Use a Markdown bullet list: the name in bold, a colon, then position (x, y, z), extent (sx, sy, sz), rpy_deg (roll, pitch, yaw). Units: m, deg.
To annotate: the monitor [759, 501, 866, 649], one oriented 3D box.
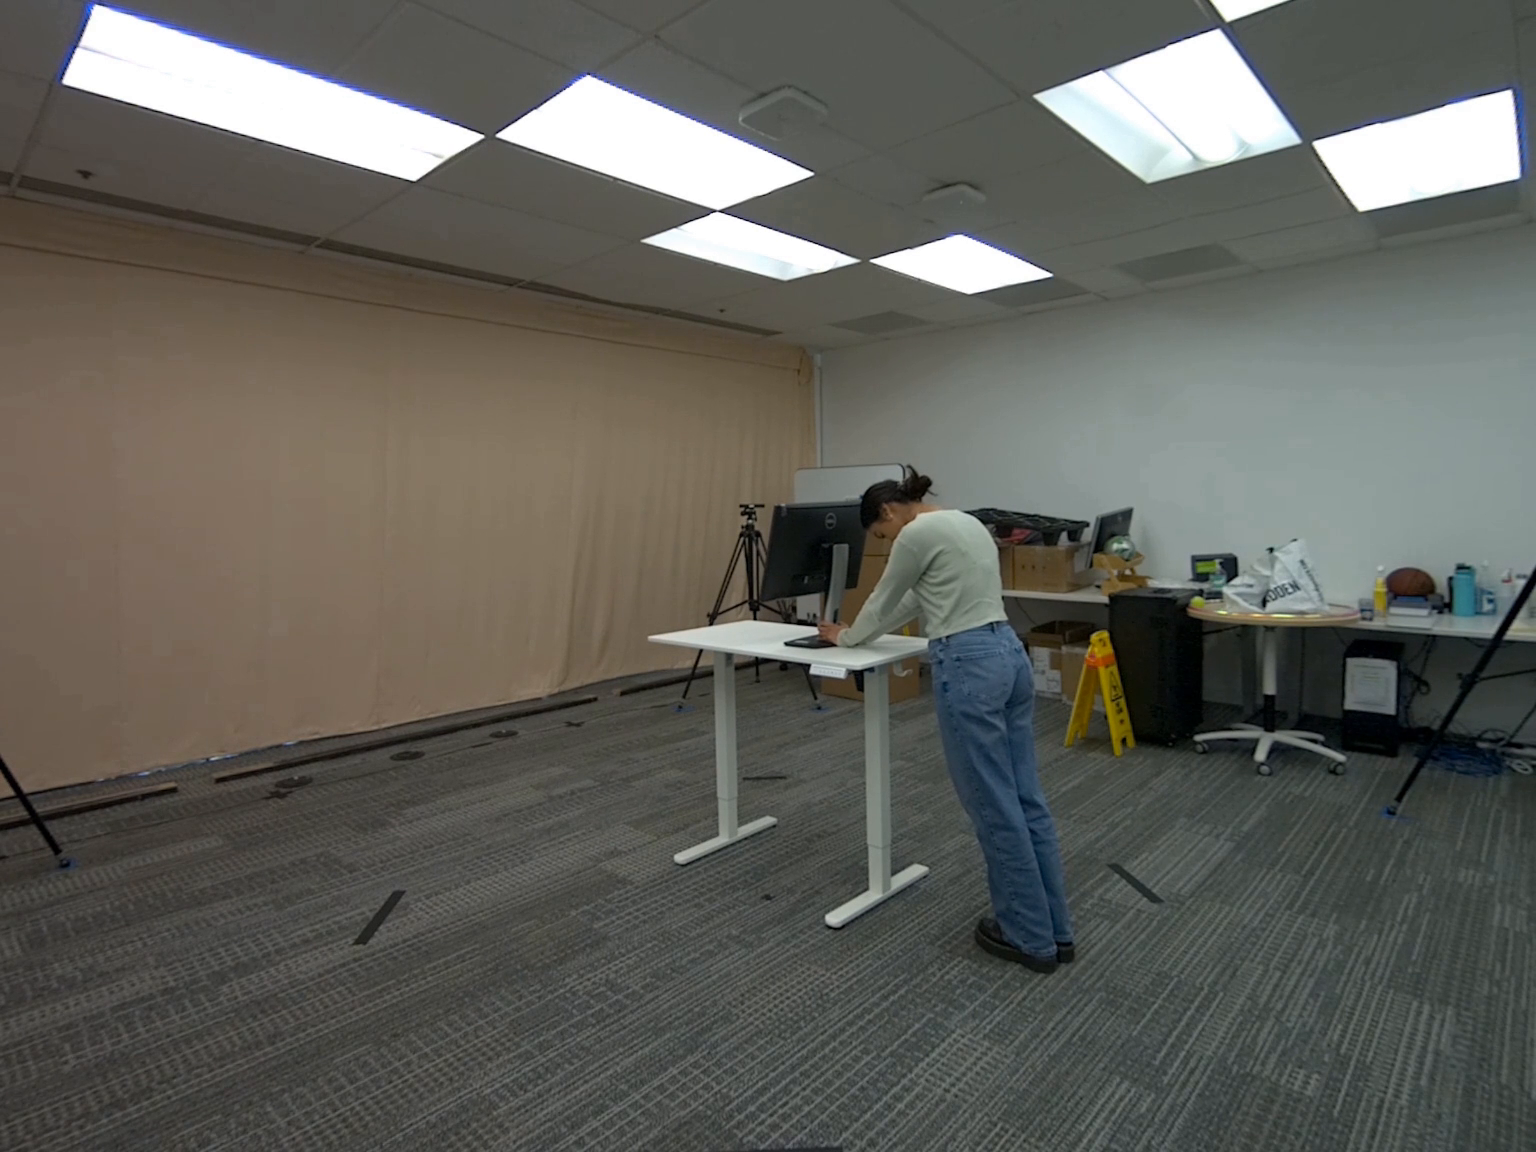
- **monitor**: position (0.207, -0.010, 3.069), extent (0.193, 0.521, 0.523), rpy_deg (3, 6, 45)
